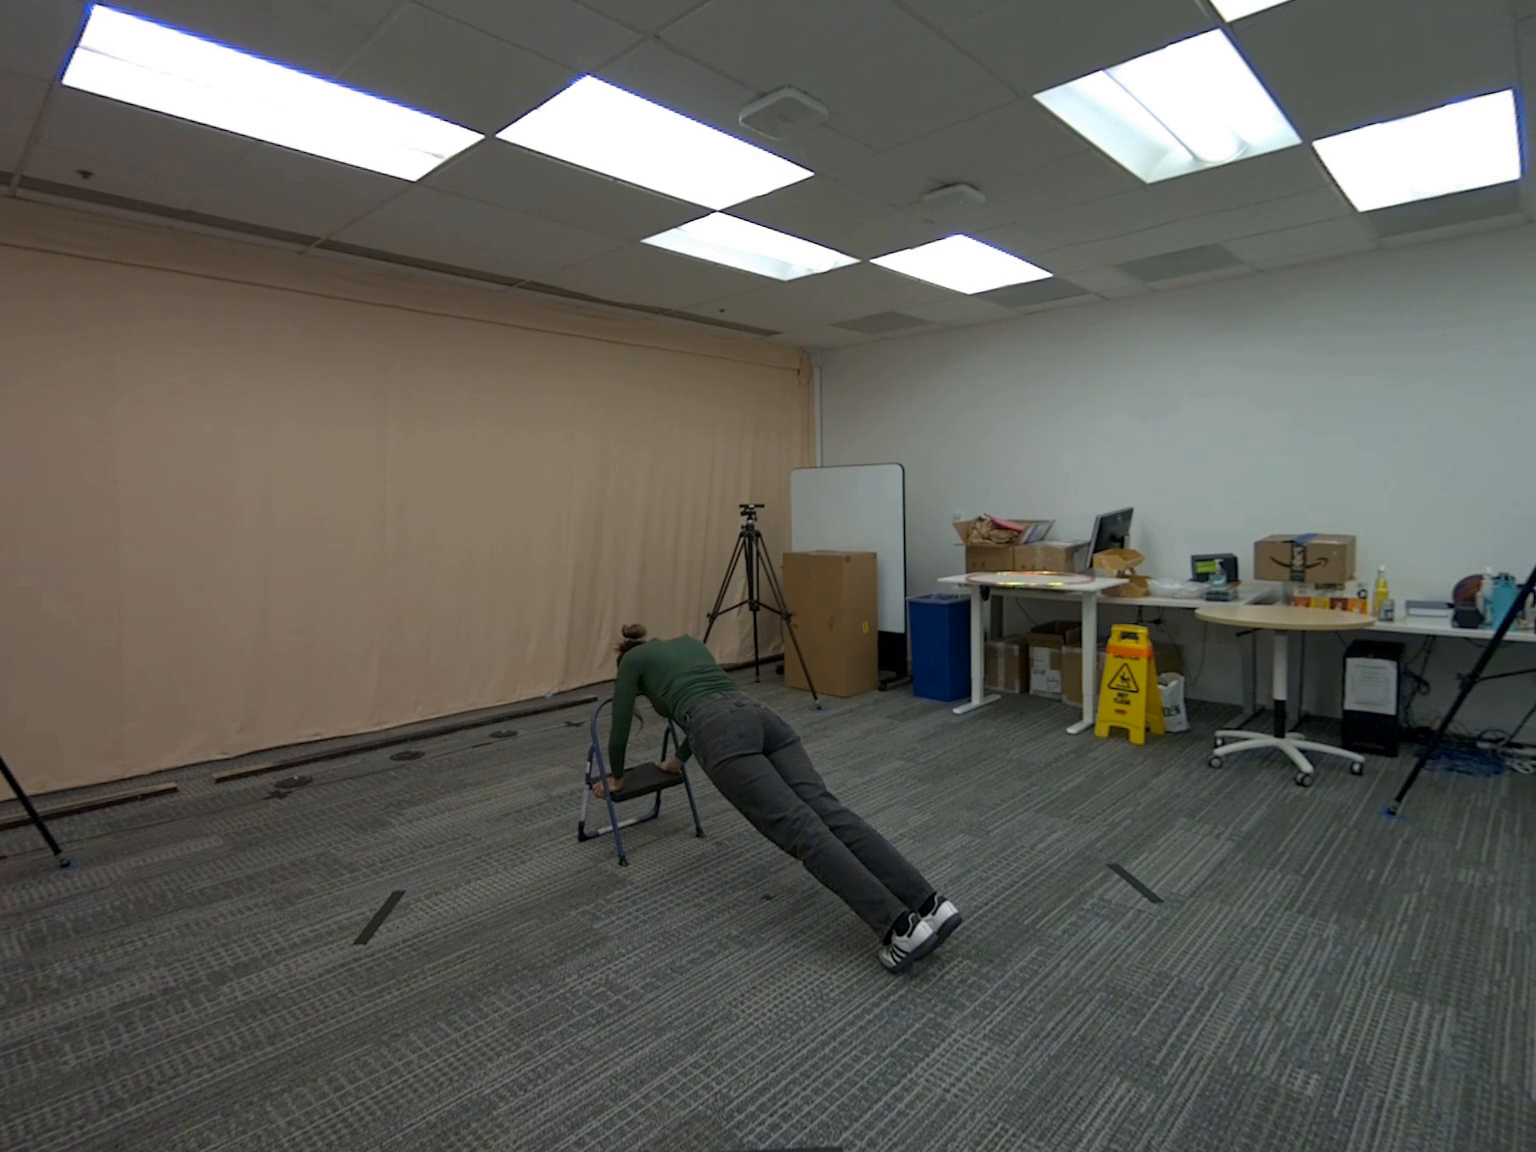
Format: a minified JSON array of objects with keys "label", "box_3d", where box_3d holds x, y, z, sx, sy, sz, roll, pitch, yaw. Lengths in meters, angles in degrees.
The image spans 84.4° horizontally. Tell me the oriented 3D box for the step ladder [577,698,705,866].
[{"label":"step ladder","box_3d":[-0.539,0.805,3.525,0.417,0.605,0.361,-4,4,-43]}]
